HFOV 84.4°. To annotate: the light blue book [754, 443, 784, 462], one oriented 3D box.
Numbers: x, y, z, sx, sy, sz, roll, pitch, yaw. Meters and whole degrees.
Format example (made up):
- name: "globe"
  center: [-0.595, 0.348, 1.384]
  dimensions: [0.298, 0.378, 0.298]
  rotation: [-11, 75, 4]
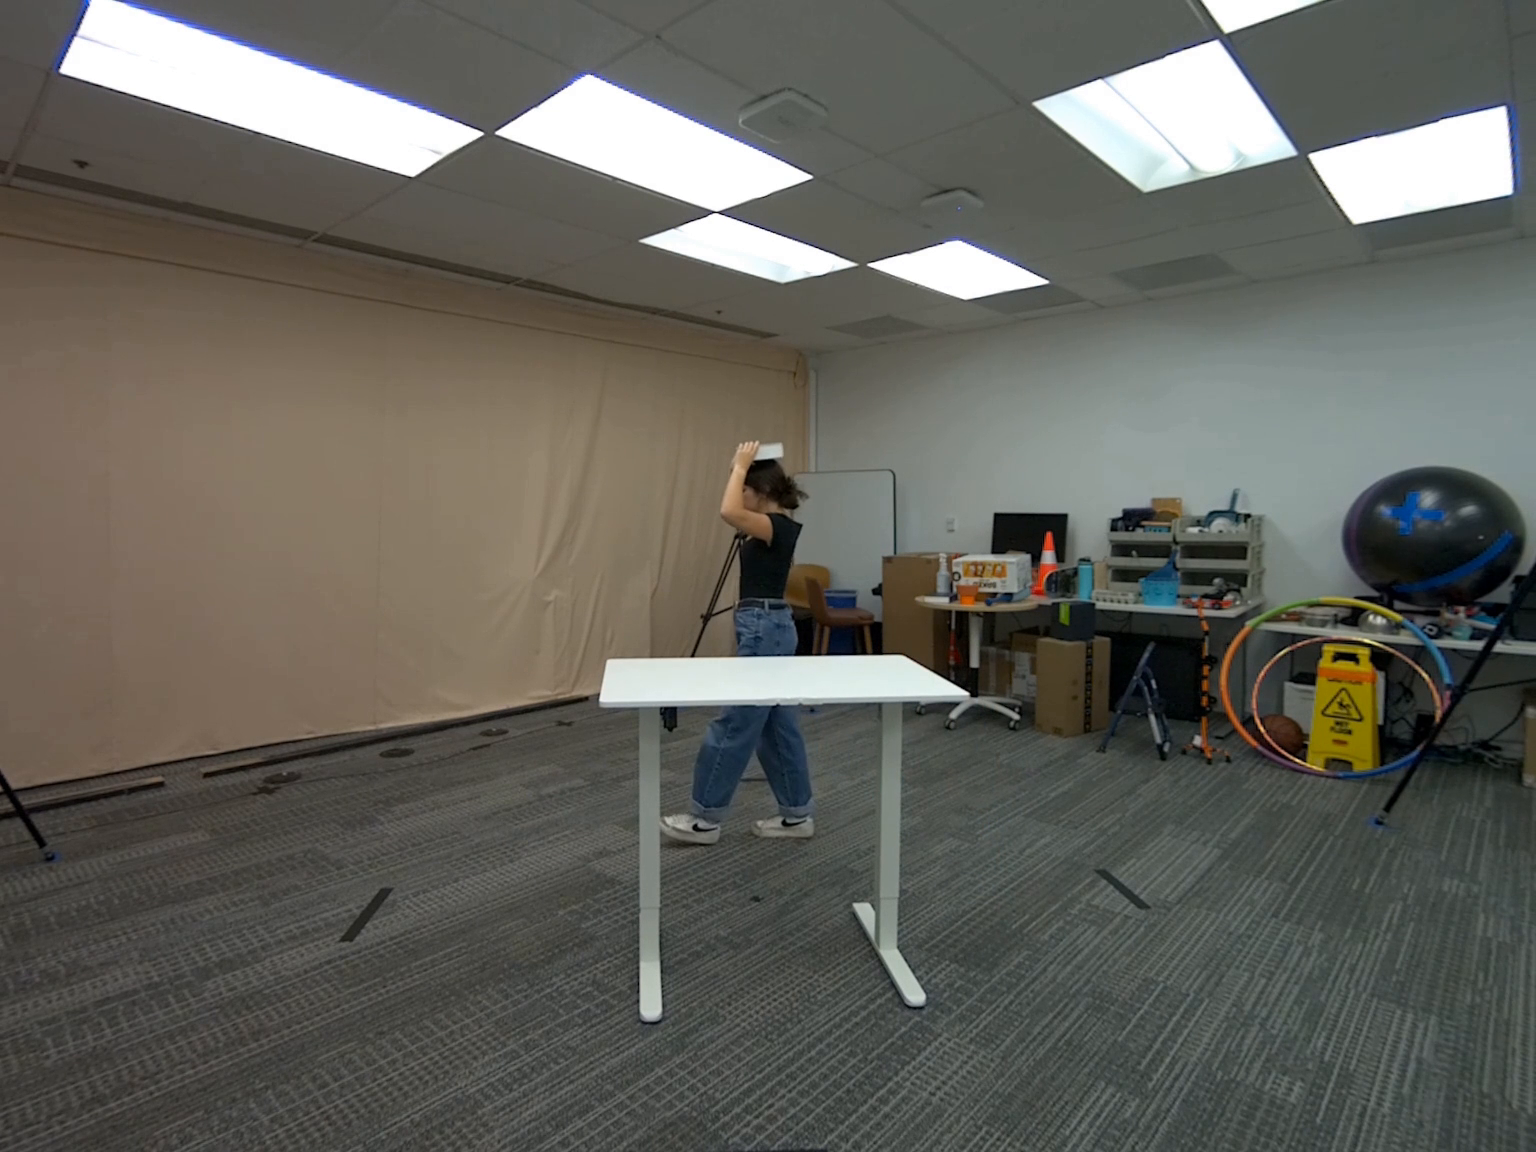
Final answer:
- name: "light blue book"
  center: [-0.047, -0.508, 3.467]
  dimensions: [0.192, 0.059, 0.262]
  rotation: [-4, 7, 0]
